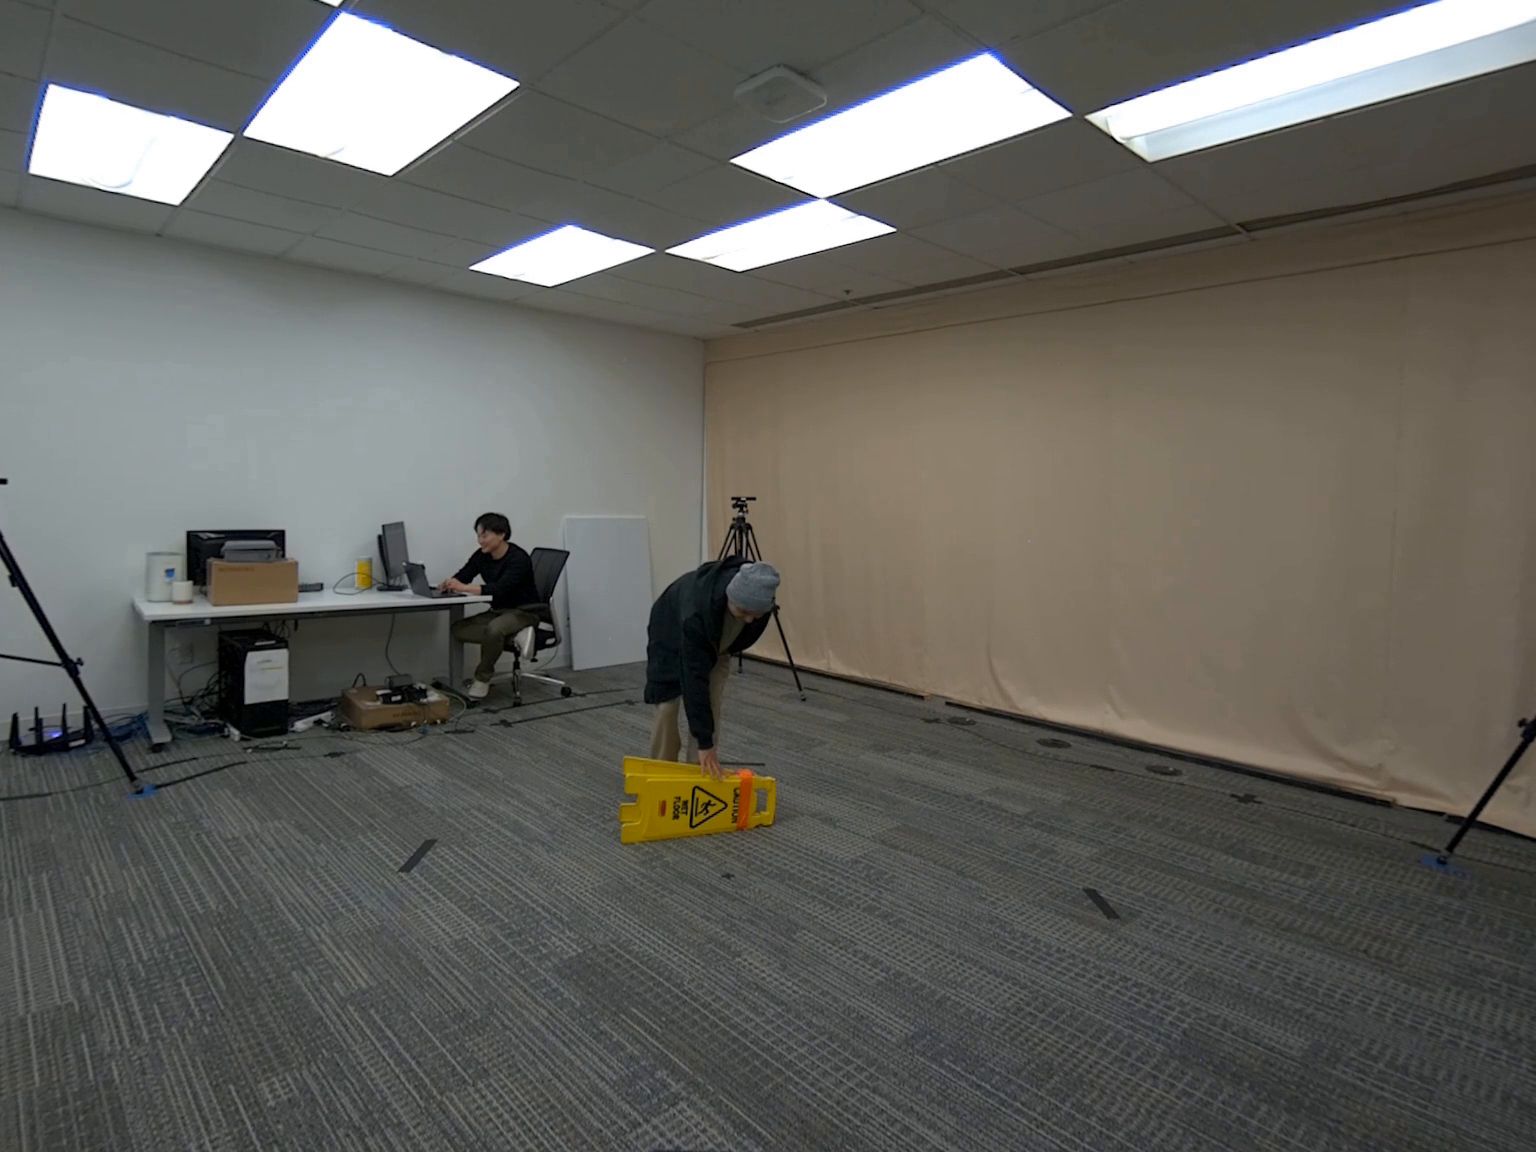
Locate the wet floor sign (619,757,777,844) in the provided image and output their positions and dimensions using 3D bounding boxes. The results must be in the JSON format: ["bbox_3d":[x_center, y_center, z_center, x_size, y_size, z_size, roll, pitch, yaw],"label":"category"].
[{"bbox_3d":[-0.298,0.938,3.550,0.640,0.282,0.293,4,3,-10],"label":"wet floor sign"}]
